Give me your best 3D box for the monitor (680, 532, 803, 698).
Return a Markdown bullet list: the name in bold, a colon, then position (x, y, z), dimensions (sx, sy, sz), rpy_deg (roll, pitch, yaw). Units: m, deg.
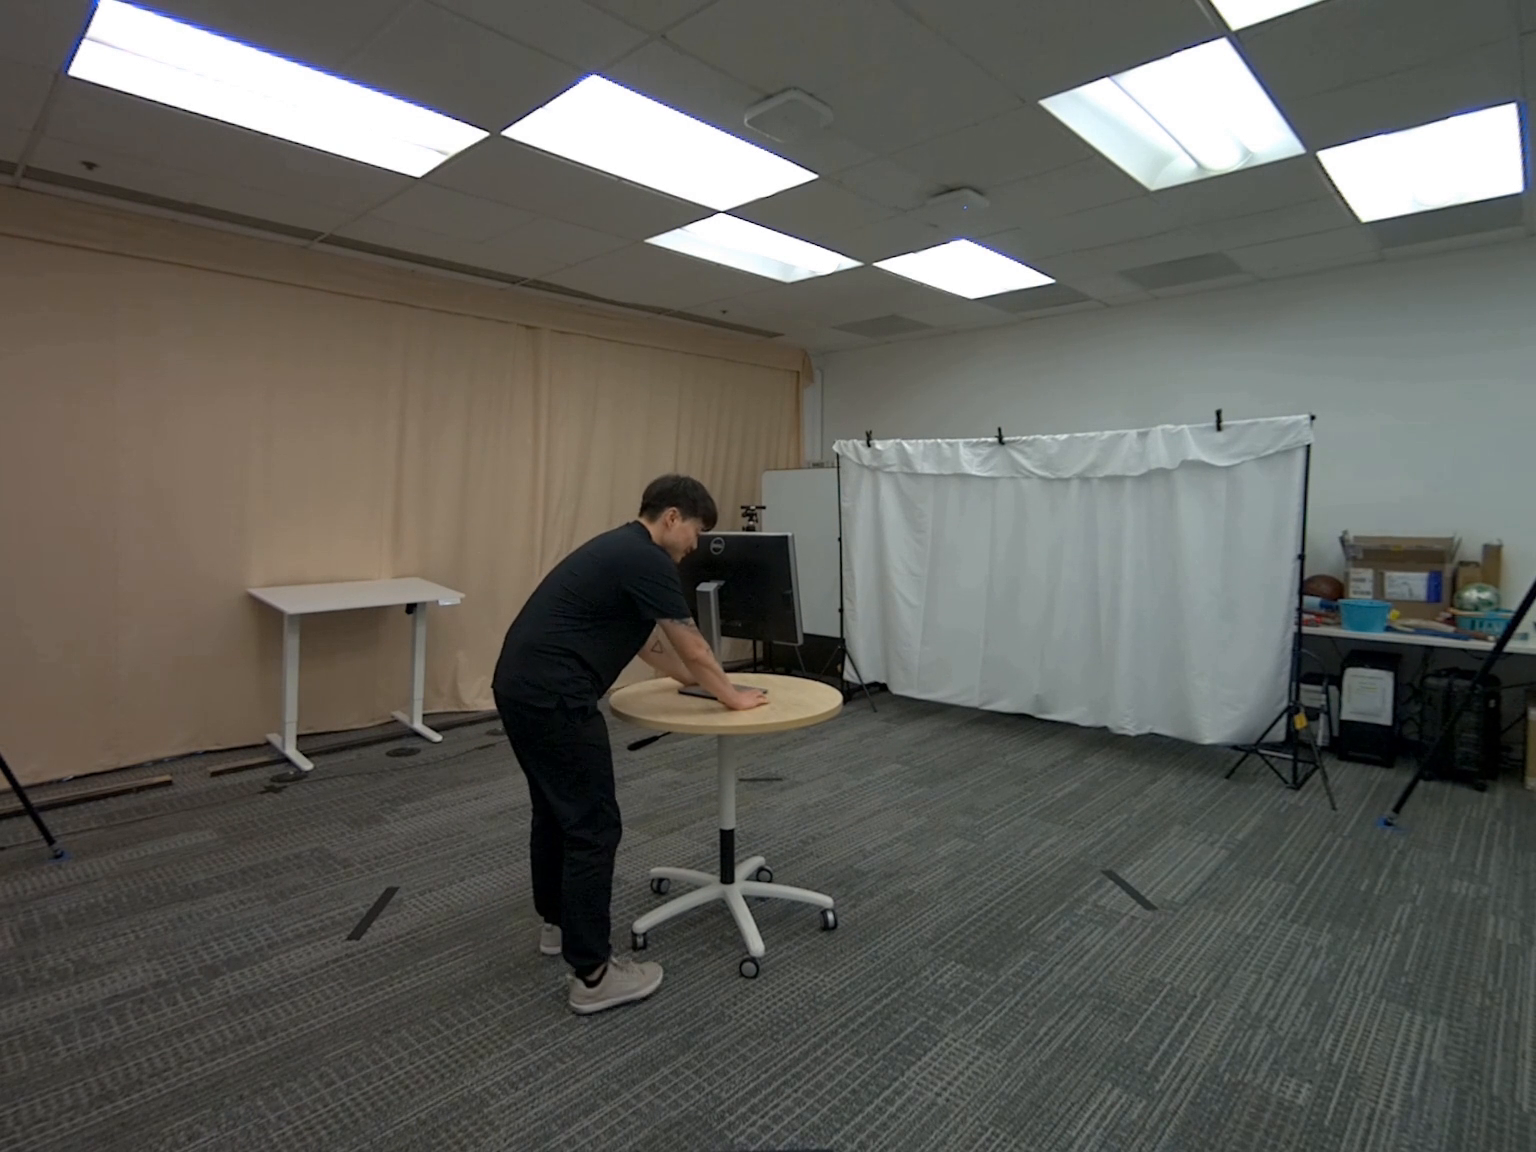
- **monitor**: position (-0.152, 0.124, 2.808), dimensions (0.556, 0.522, 0.181), rpy_deg (2, 1, 36)
